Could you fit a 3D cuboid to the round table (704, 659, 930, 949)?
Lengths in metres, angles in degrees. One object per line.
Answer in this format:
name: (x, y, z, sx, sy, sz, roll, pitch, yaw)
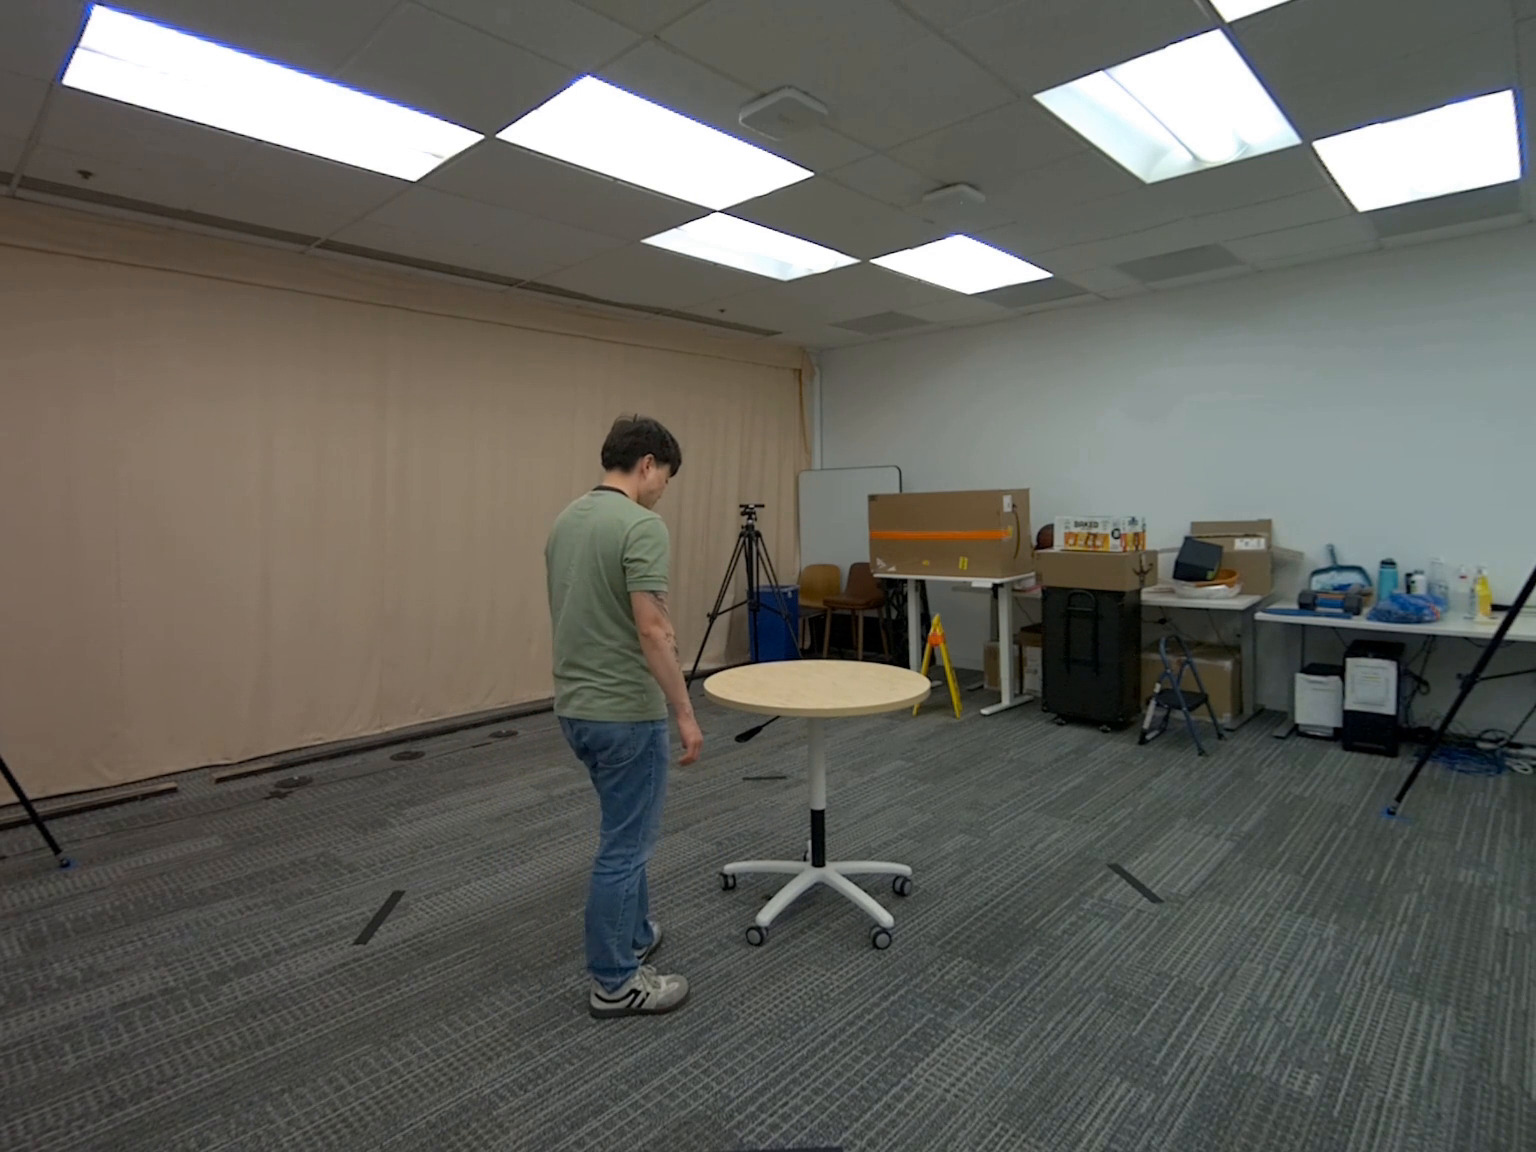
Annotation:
round table: (0.173, 0.755, 2.906, 0.763, 0.792, 0.767, -1, 4, -2)
